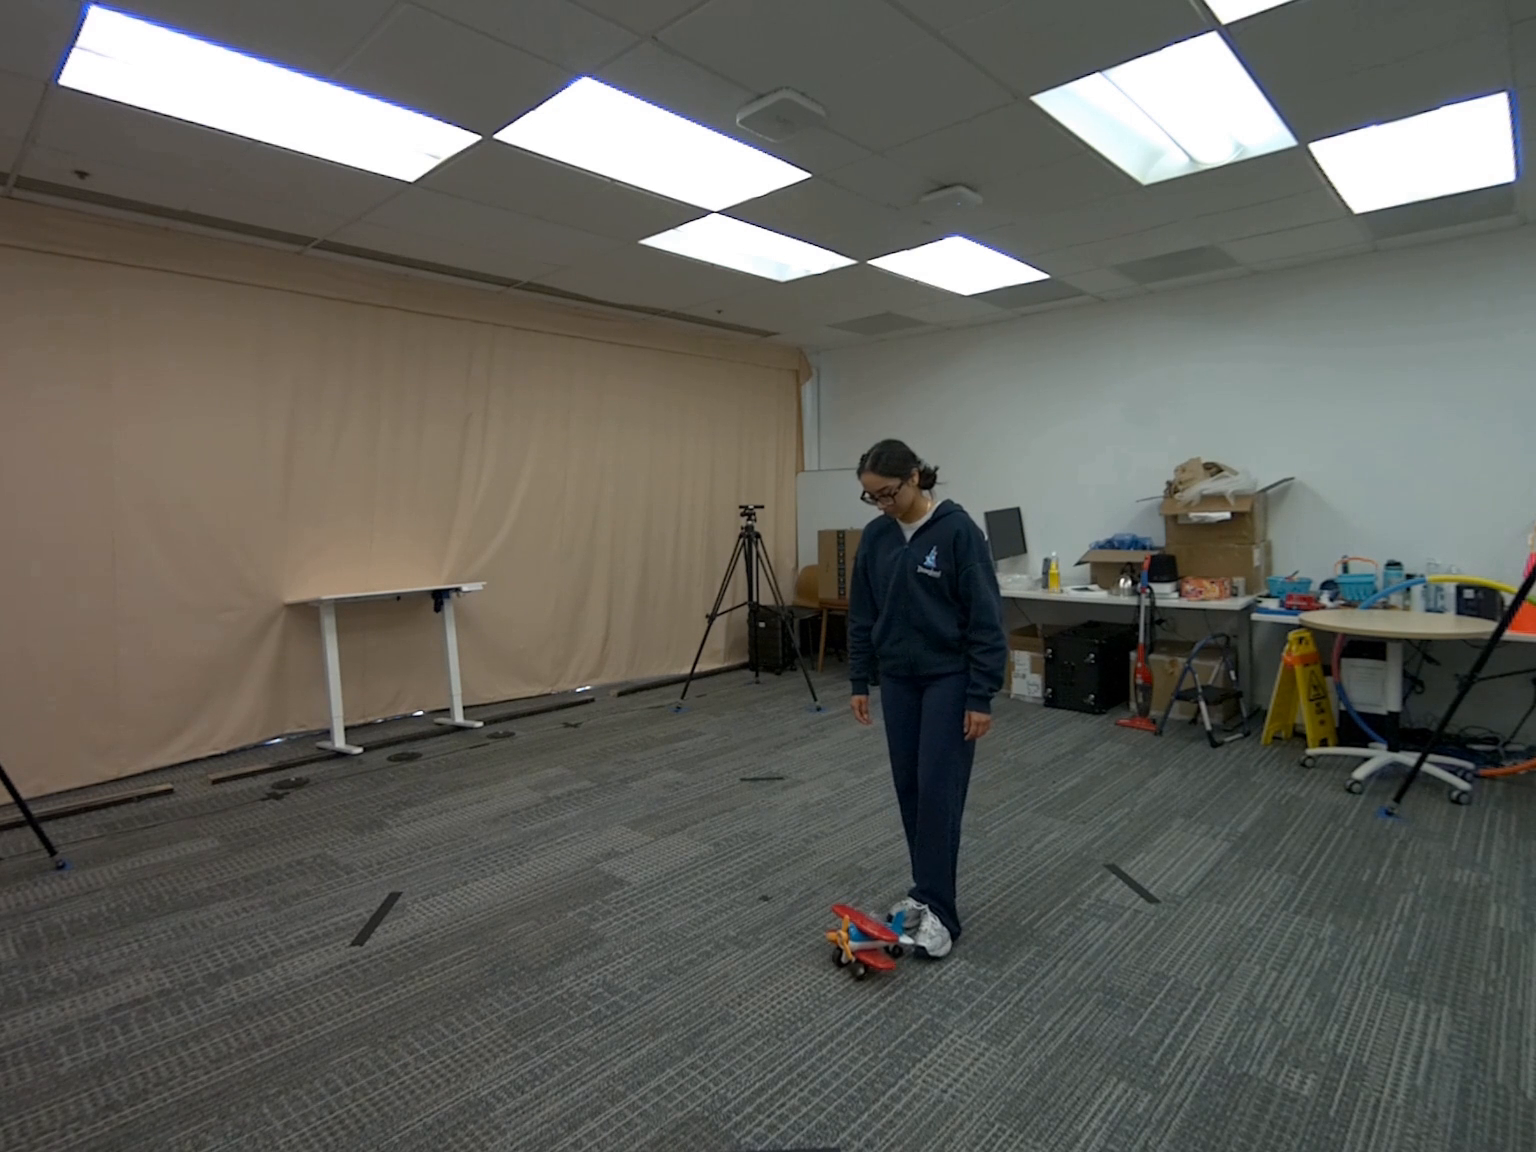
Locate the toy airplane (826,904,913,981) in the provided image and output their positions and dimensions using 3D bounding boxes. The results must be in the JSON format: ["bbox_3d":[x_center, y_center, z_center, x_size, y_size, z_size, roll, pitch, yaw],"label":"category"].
[{"bbox_3d":[0.301,1.099,2.554,0.258,0.156,0.253,1,6,28],"label":"toy airplane"}]
